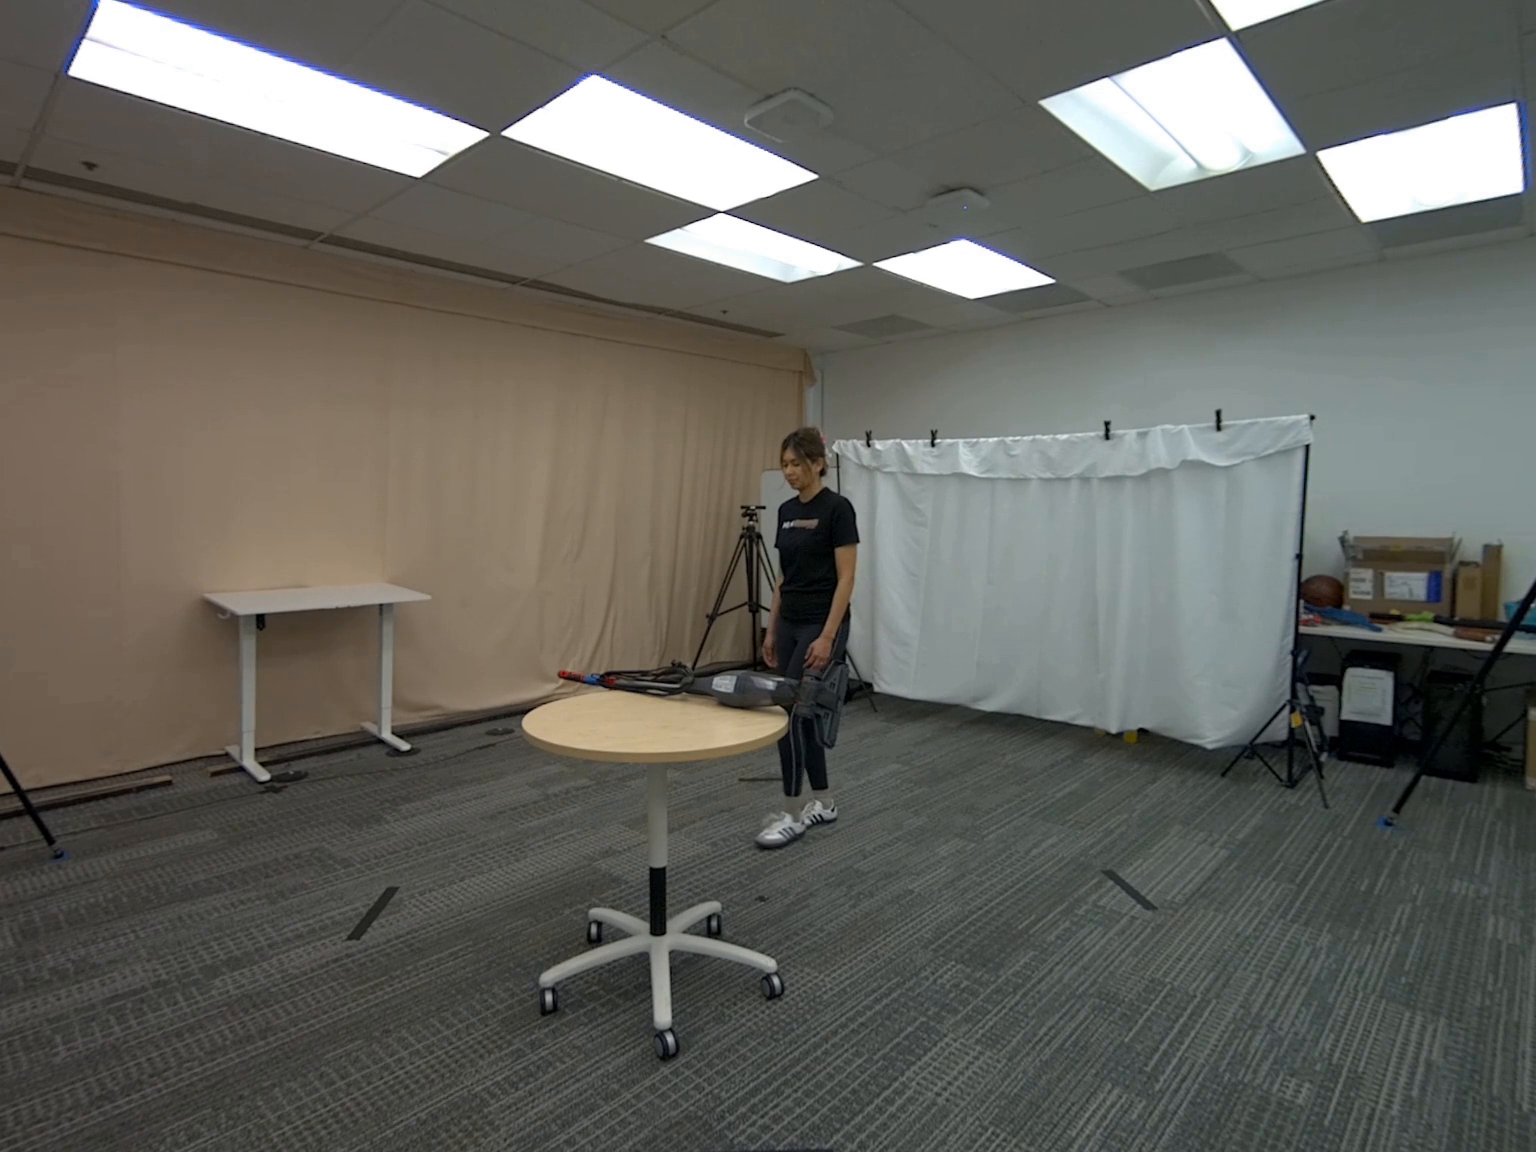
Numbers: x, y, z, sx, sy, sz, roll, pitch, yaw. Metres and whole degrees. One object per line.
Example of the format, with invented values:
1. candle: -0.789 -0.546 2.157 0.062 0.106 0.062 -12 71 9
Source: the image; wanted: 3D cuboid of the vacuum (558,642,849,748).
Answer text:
1. vacuum: -0.277 0.357 2.696 1.081 0.254 0.139 1 -28 33
